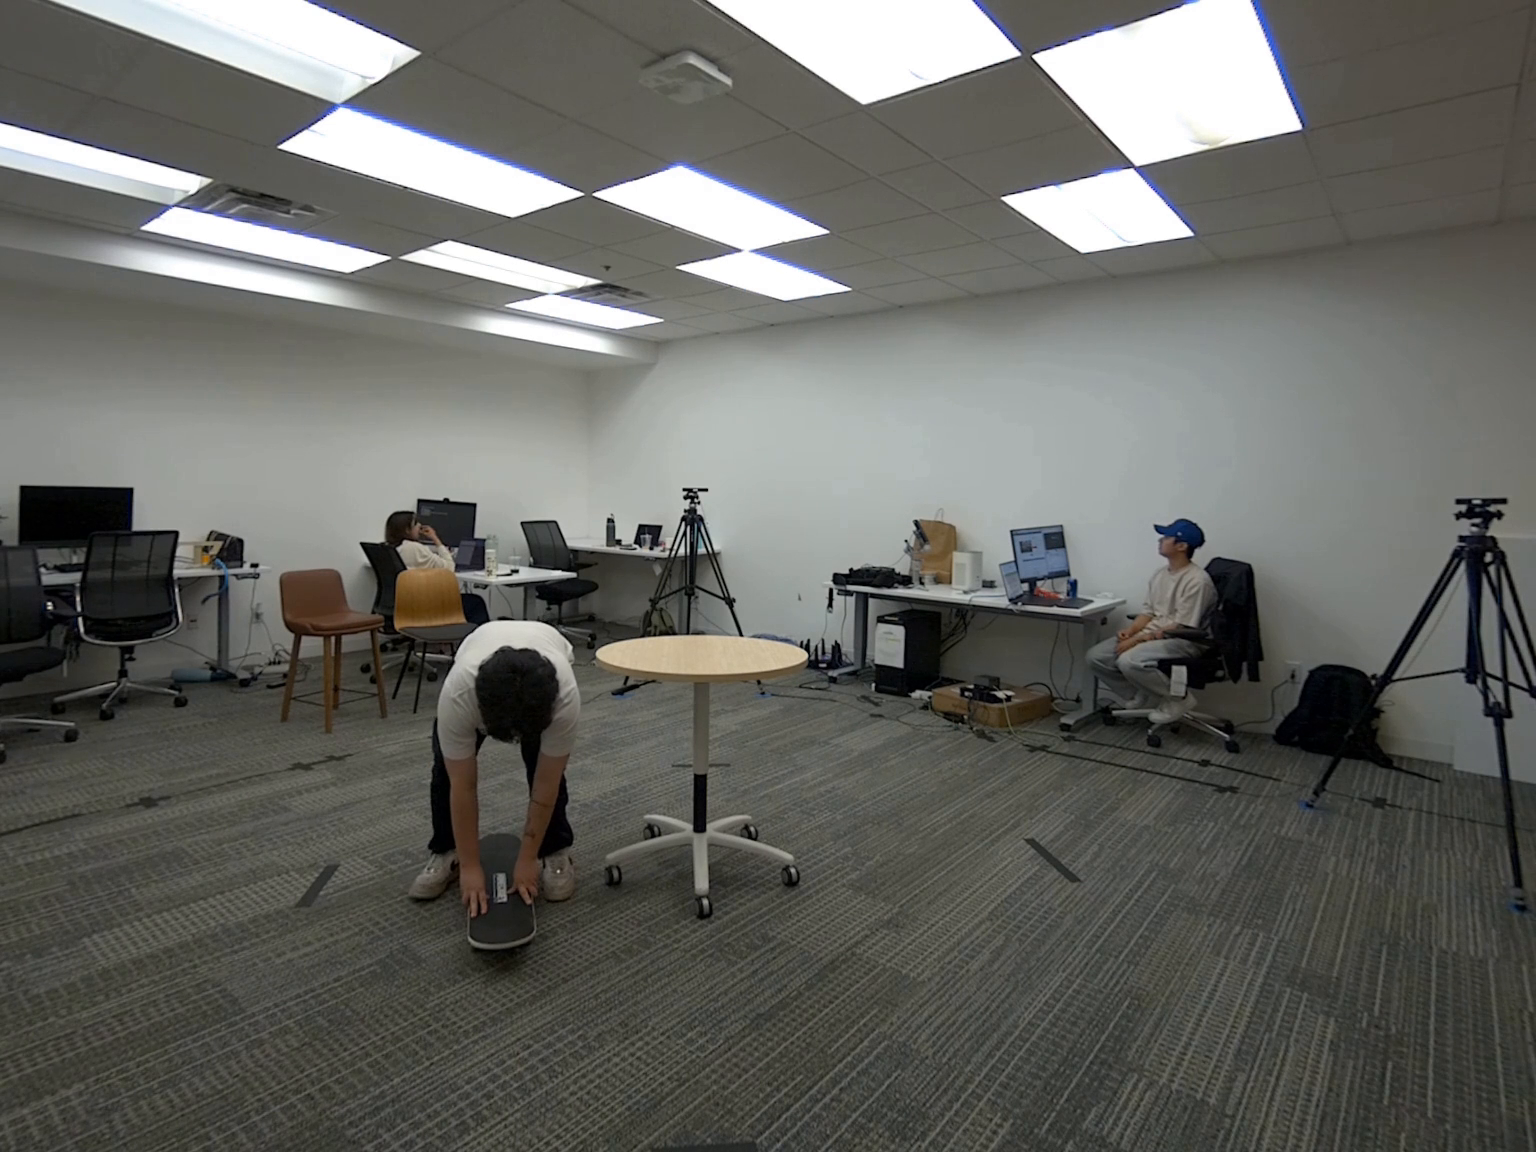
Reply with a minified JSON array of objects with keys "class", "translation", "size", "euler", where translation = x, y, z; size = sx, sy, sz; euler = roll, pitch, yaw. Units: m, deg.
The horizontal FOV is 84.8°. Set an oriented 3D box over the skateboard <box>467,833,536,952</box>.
[{"class":"skateboard","translation":[-0.874,1.040,2.752],"size":[0.190,0.110,0.802],"euler":[-1,6,-18]}]
